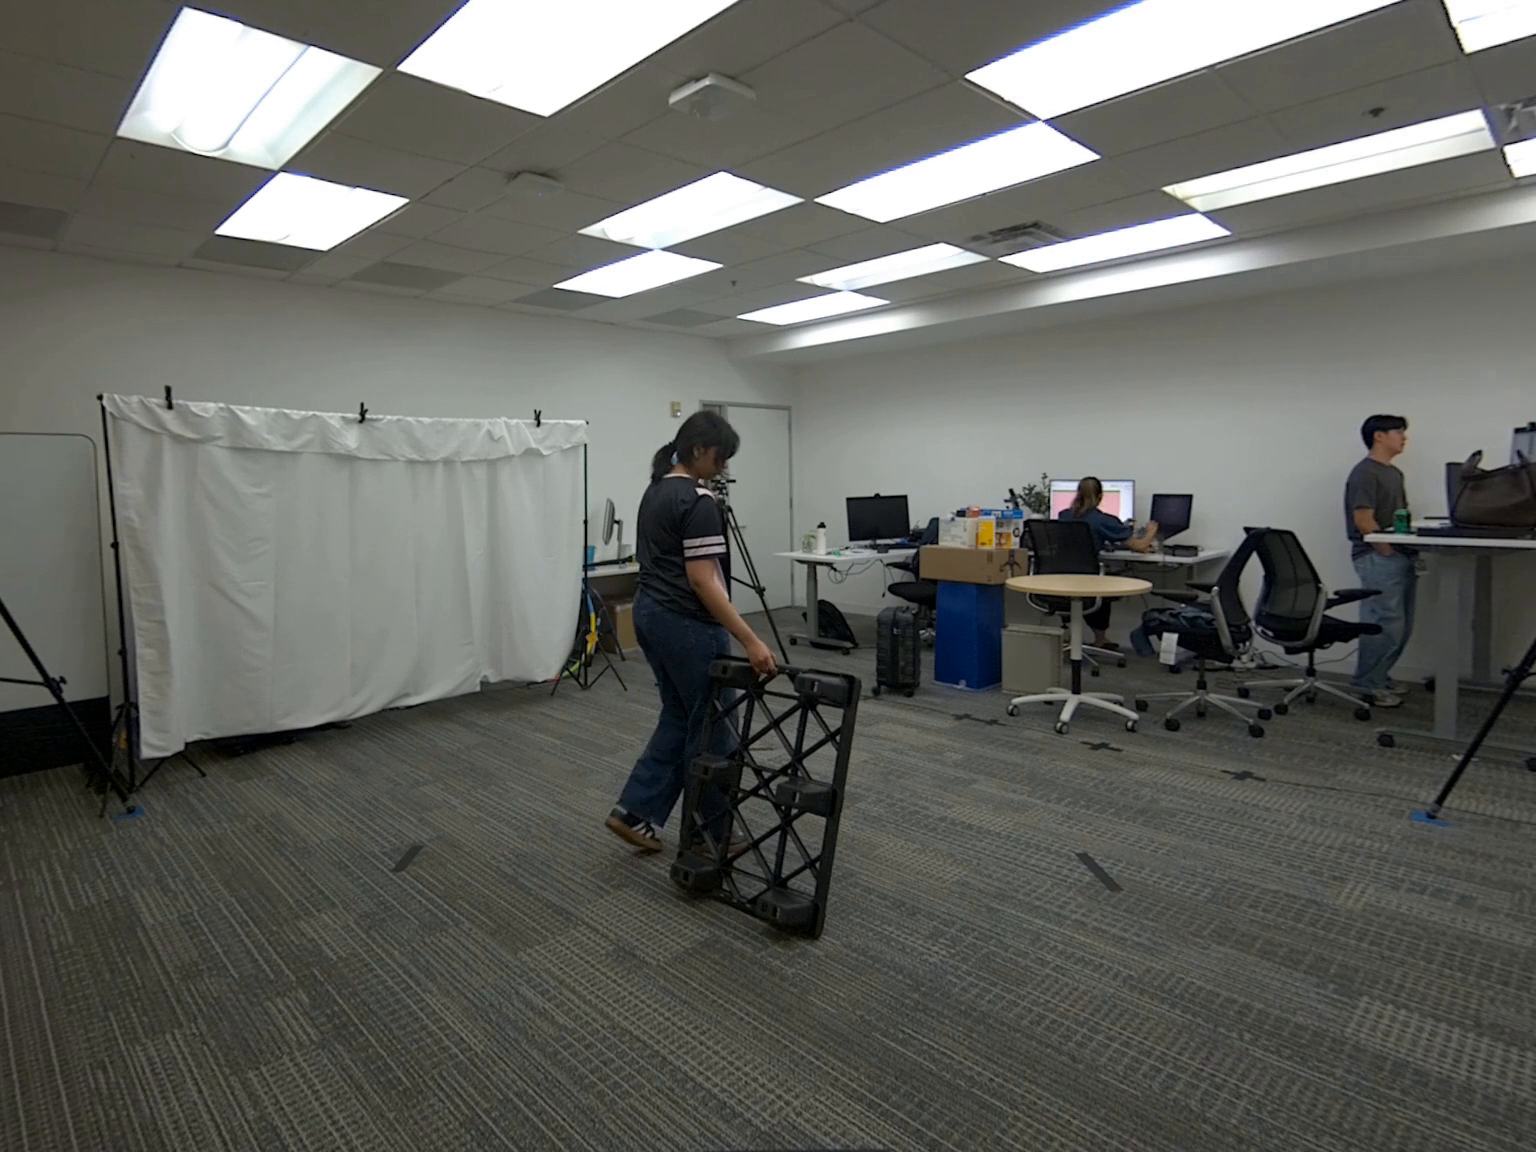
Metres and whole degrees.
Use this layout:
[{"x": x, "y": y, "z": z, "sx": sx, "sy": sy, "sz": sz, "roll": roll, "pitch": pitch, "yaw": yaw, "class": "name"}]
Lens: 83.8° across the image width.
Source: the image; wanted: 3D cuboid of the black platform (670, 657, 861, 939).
[{"x": -0.030, "y": 0.688, "z": 2.802, "sx": 0.623, "sy": 0.811, "sz": 0.138, "roll": 3, "pitch": -12, "yaw": 40, "class": "black platform"}]
